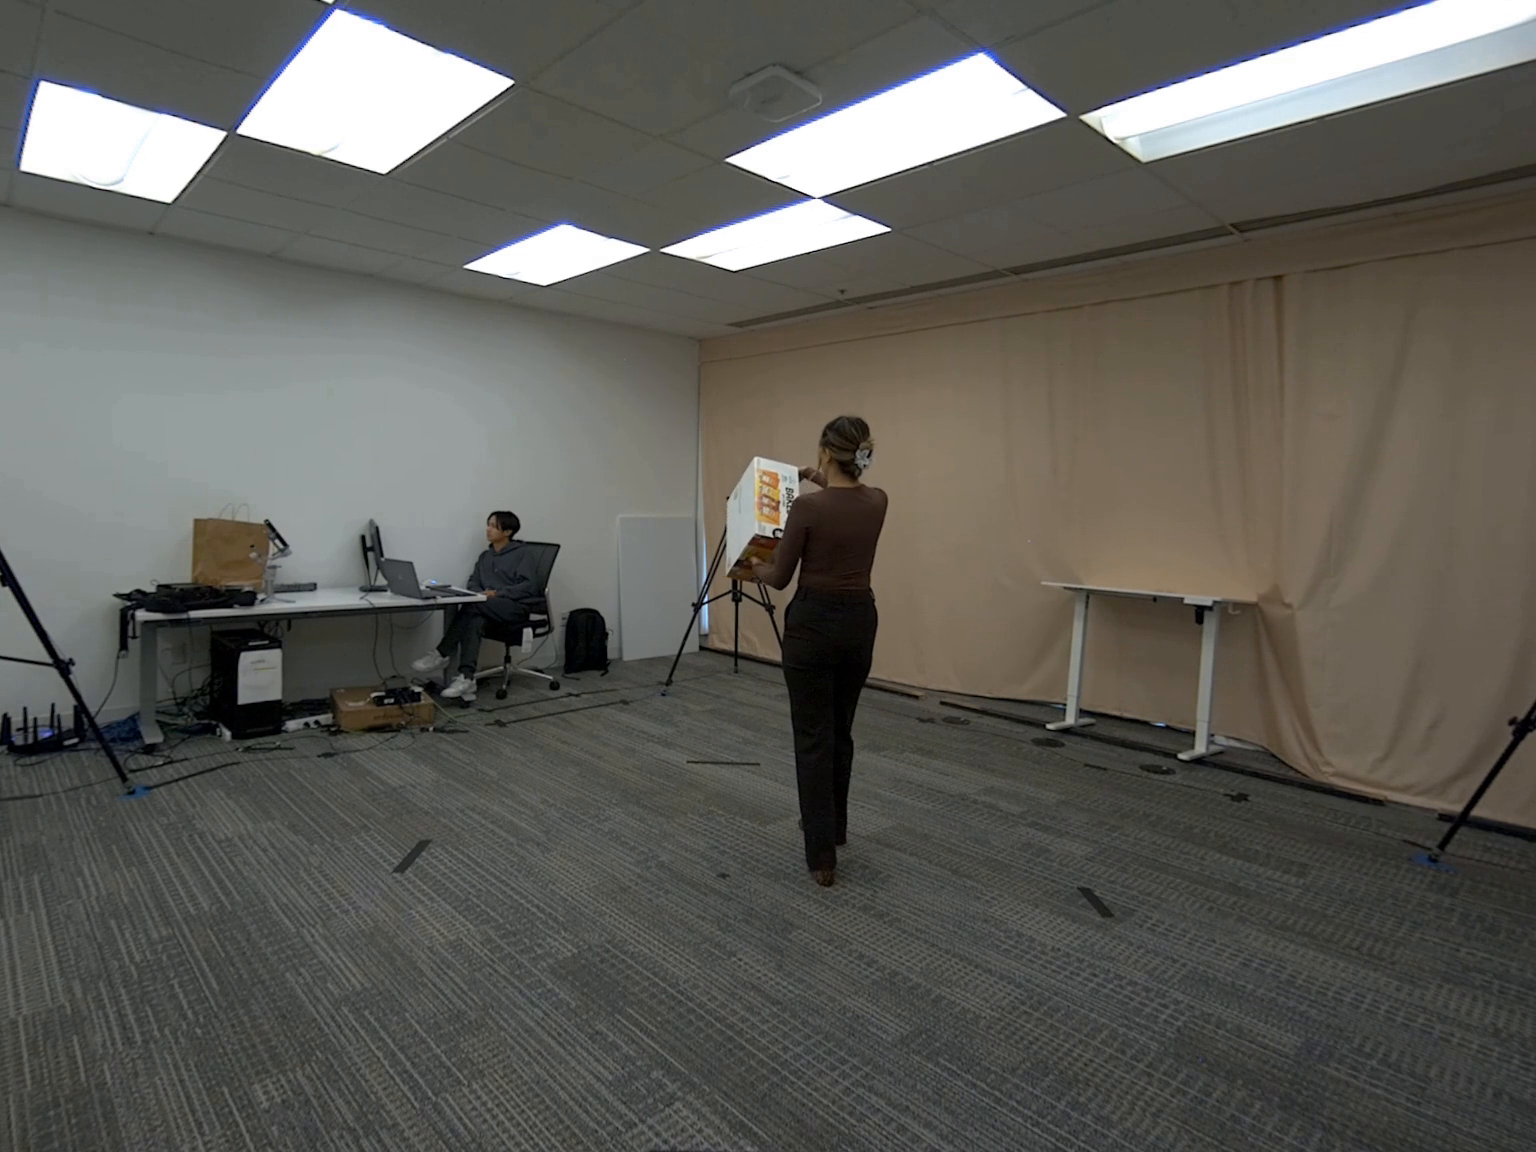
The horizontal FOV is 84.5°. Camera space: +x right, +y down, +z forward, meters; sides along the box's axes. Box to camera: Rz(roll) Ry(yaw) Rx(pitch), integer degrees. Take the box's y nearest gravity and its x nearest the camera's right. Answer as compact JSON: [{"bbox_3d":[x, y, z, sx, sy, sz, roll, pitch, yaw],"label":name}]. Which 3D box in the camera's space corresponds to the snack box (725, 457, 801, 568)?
[{"bbox_3d":[-0.043,-0.231,3.604,0.202,0.413,0.339,13,-36,-20],"label":"snack box"}]
